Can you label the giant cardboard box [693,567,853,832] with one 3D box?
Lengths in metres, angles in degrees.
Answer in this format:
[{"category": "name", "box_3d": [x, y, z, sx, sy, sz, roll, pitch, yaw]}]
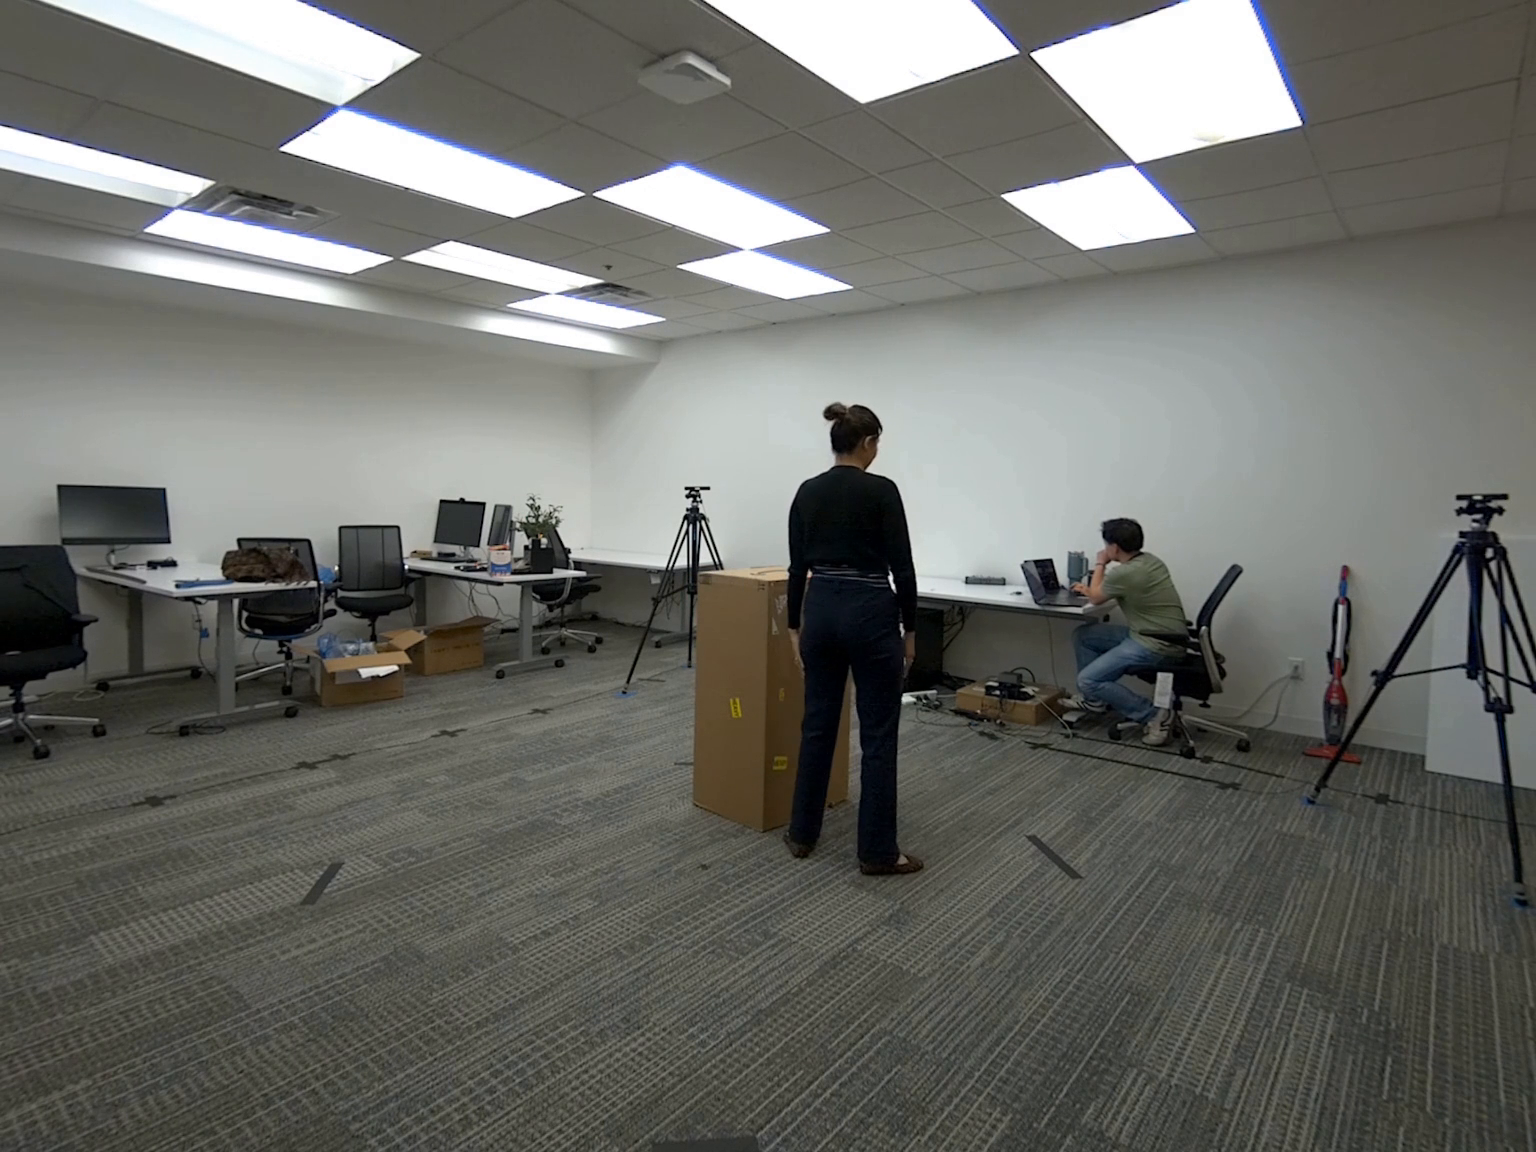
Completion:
[{"category": "giant cardboard box", "box_3d": [0.017, 0.493, 3.755, 0.441, 1.023, 0.560, 4, 4, 43]}]
